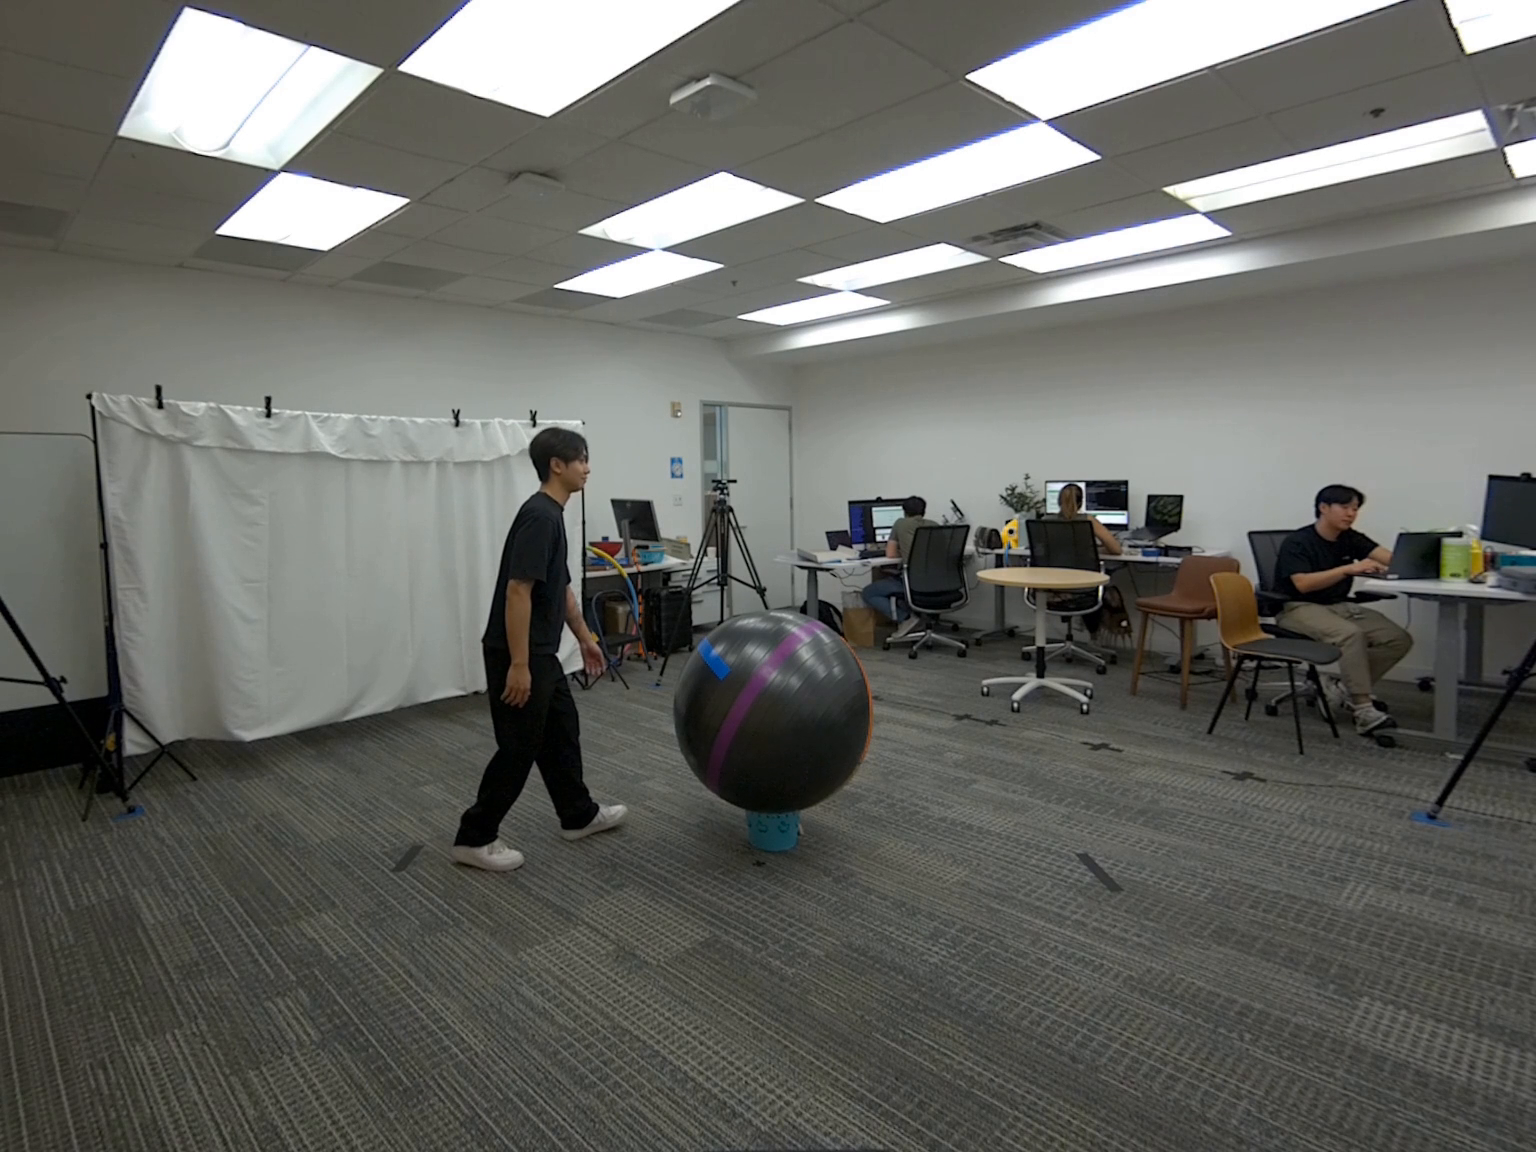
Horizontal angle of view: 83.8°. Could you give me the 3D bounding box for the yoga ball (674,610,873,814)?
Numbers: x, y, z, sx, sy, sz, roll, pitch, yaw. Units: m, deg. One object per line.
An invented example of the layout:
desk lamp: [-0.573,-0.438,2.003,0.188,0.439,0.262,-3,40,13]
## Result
yoga ball: [0.025,0.514,3.272,0.757,0.755,0.762,-1,5,-2]
